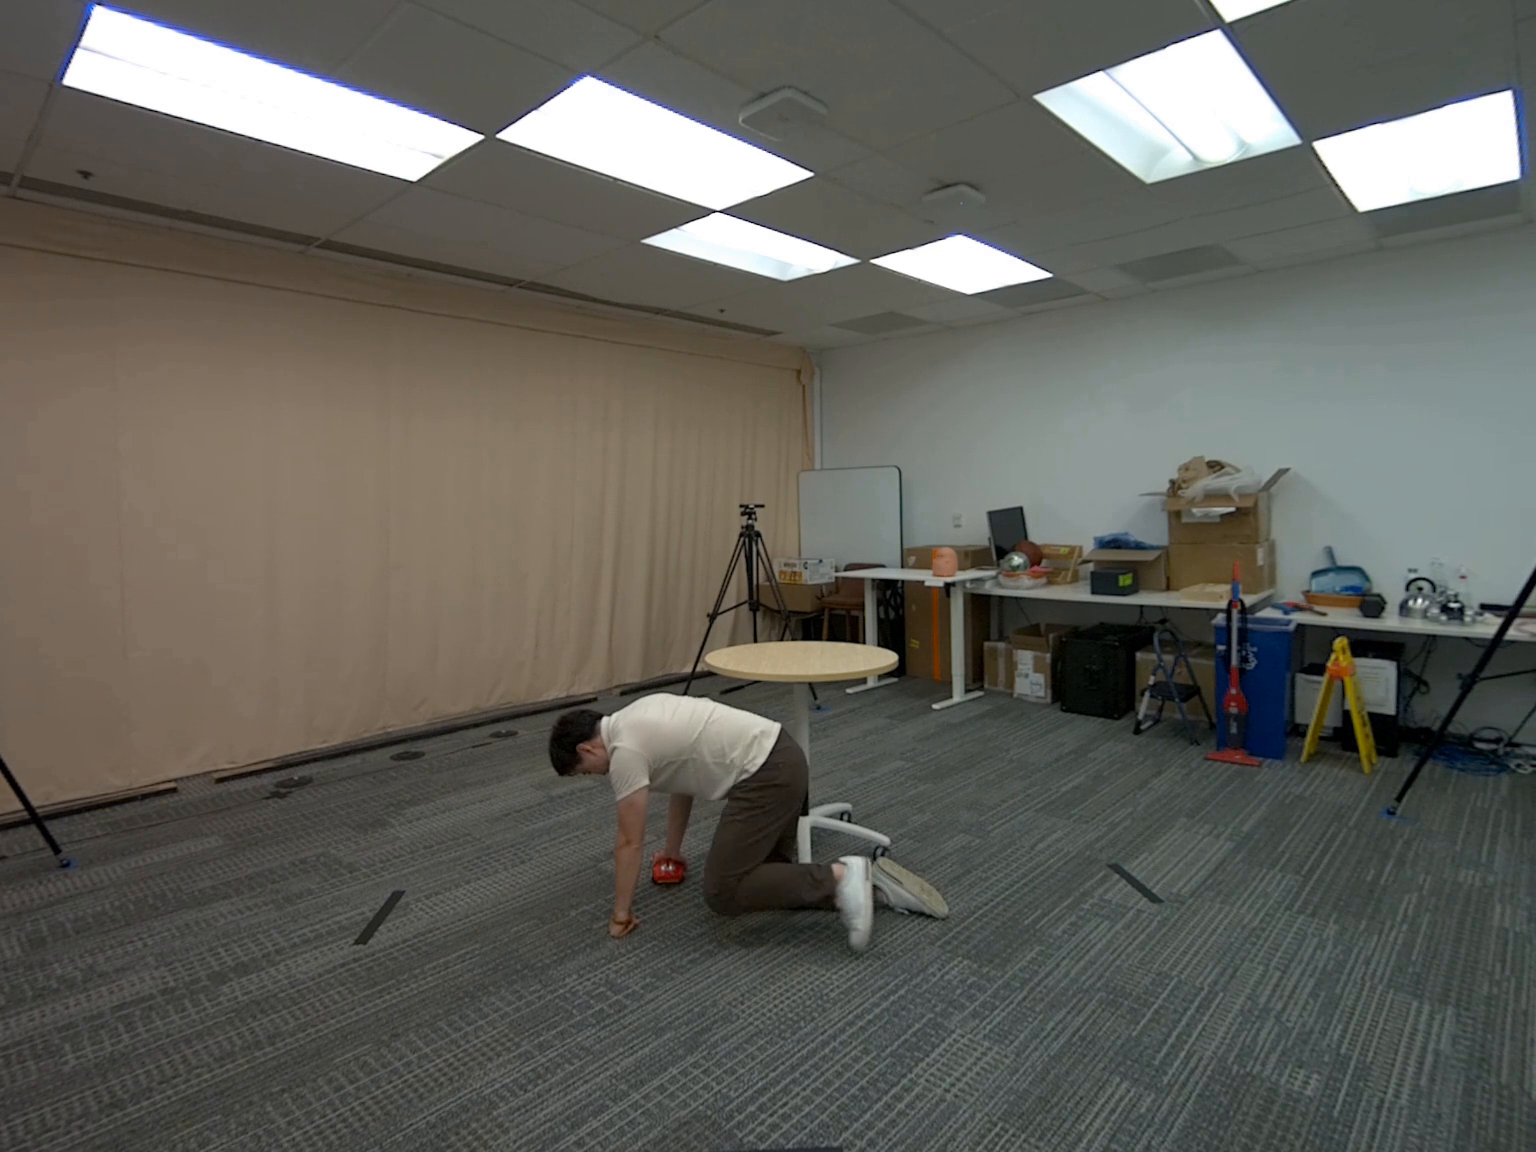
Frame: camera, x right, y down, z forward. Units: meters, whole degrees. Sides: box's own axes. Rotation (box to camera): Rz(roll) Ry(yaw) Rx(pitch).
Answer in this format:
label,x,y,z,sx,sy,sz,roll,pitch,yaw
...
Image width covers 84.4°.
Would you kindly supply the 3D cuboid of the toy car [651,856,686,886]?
label,x,y,z,sx,sy,sz,roll,pitch,yaw
toy car,-0.385,1.103,3.176,0.129,0.083,0.255,-1,-7,-7
